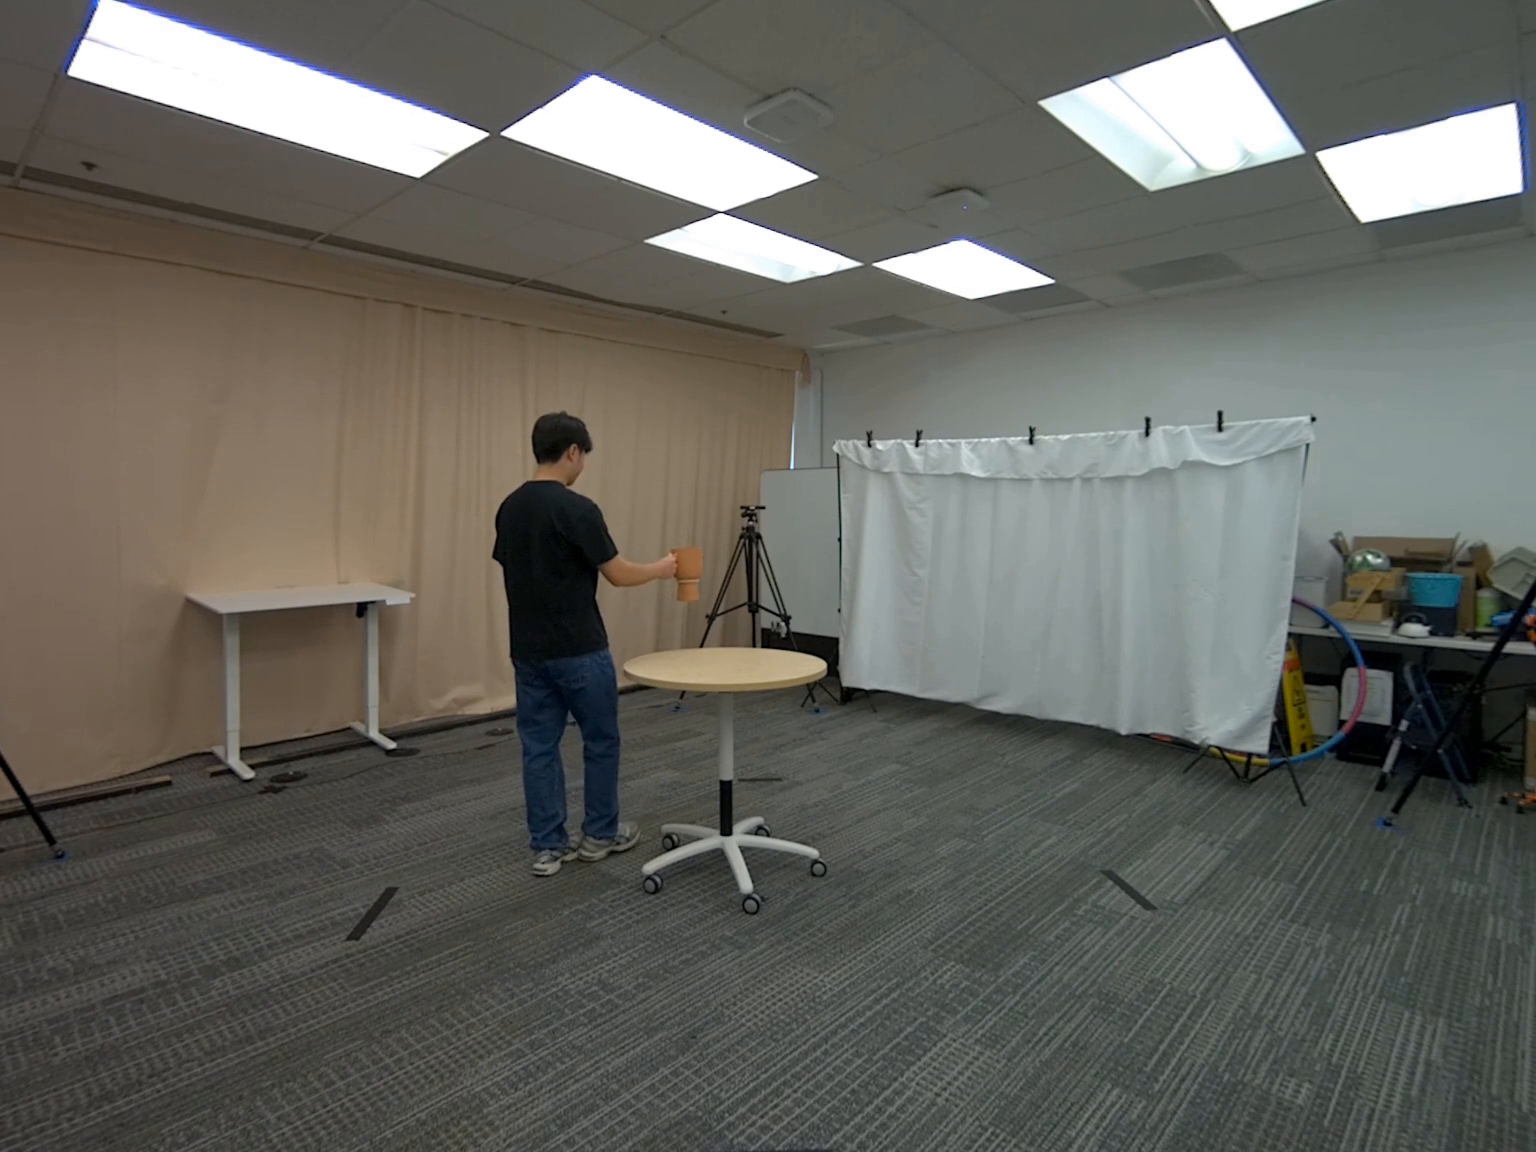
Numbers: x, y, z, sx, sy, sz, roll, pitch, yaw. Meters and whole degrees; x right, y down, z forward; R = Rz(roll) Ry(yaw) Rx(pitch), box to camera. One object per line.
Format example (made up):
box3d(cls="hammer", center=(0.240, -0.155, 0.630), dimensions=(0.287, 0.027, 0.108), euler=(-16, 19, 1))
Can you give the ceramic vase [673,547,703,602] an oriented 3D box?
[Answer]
box3d(cls="ceramic vase", center=(-0.338, -0.006, 3.544), dimensions=(0.157, 0.219, 0.136), euler=(-1, 1, -10))
